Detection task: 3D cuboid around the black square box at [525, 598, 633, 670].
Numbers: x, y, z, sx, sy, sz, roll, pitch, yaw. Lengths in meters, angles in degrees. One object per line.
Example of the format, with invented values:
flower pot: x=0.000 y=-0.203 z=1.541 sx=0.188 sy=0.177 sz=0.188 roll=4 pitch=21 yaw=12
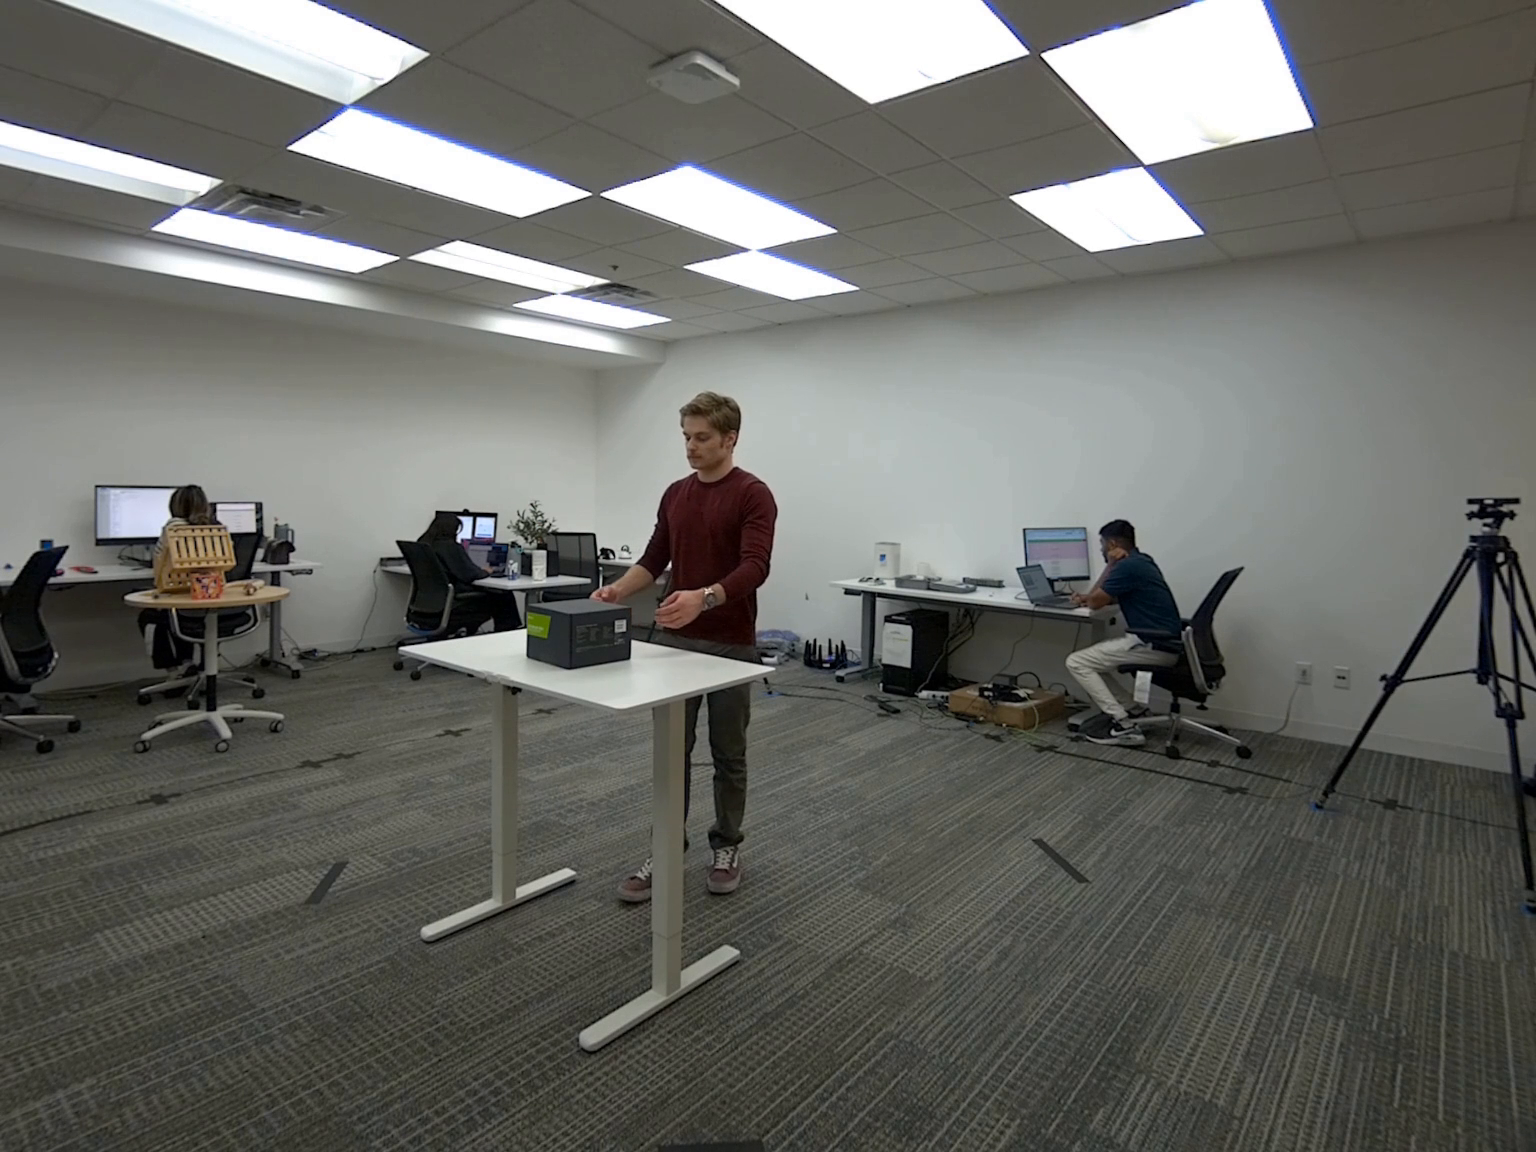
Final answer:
black square box: x=-0.568 y=0.162 z=2.486 sx=0.236 sy=0.155 sz=0.210 roll=6 pitch=8 yaw=44
